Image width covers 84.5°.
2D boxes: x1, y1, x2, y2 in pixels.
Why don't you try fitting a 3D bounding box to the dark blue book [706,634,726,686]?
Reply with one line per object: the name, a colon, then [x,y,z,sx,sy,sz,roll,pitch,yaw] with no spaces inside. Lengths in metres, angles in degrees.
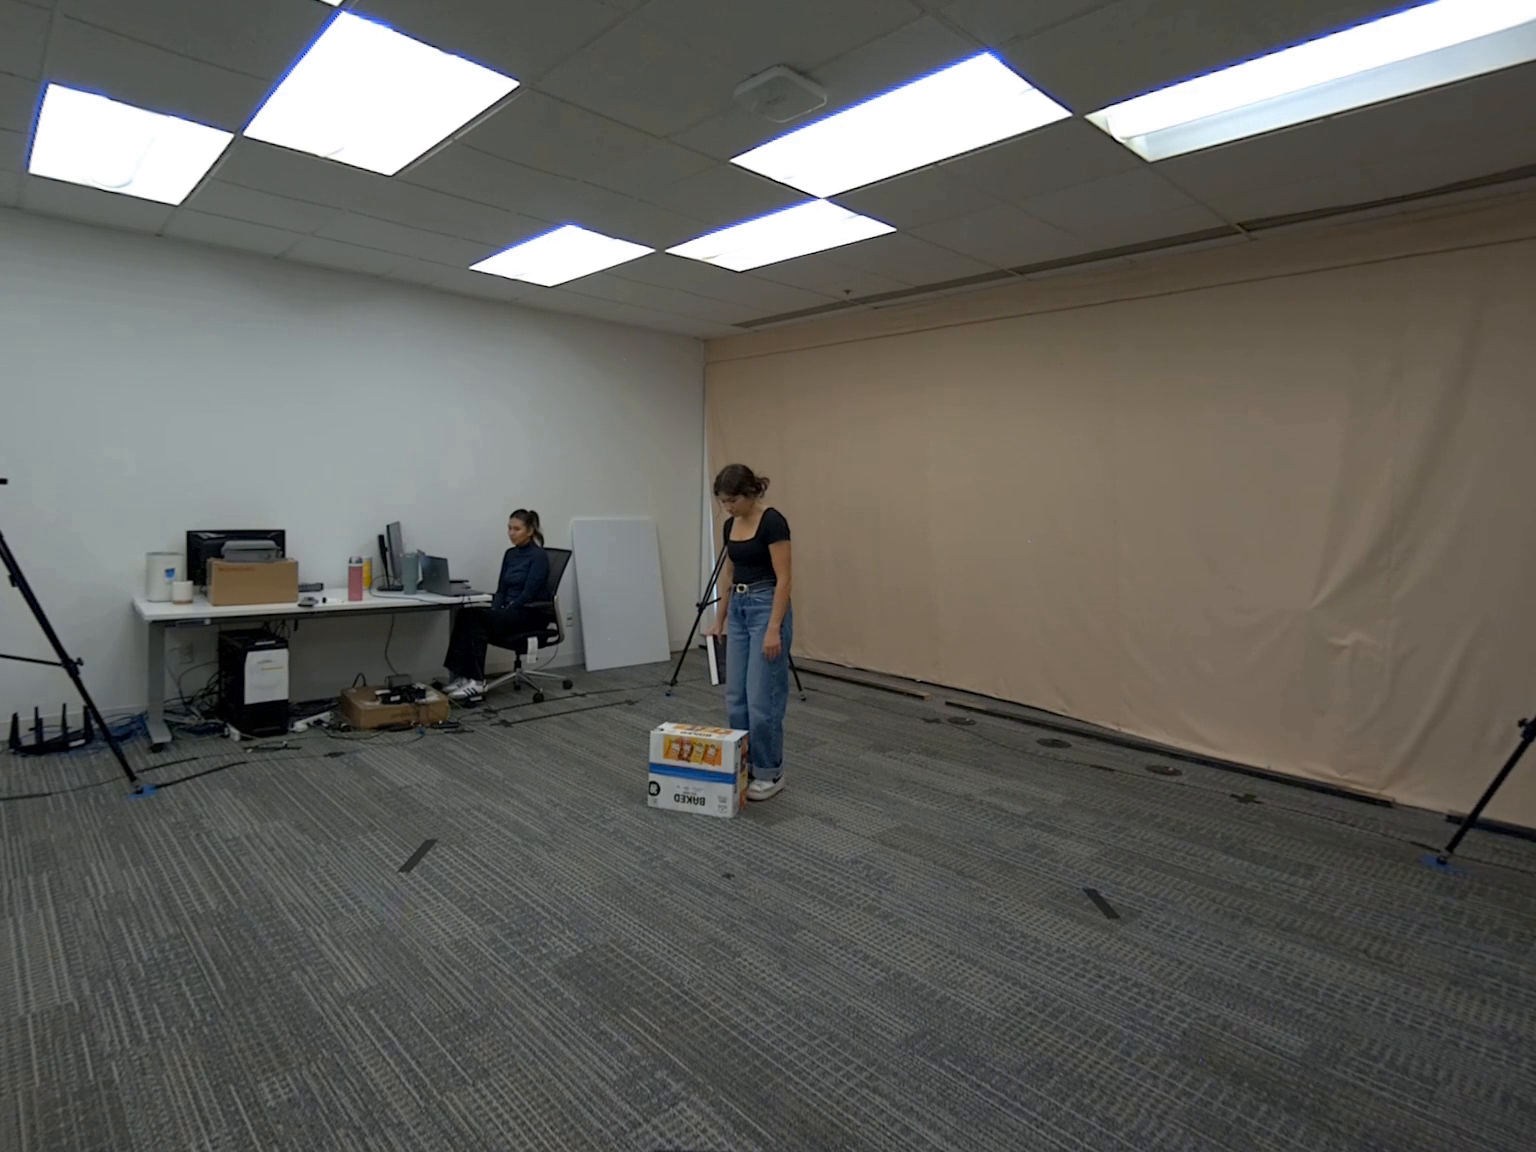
dark blue book: [-0.247,0.414,4.219,0.046,0.247,0.160,-11,-9,23]
